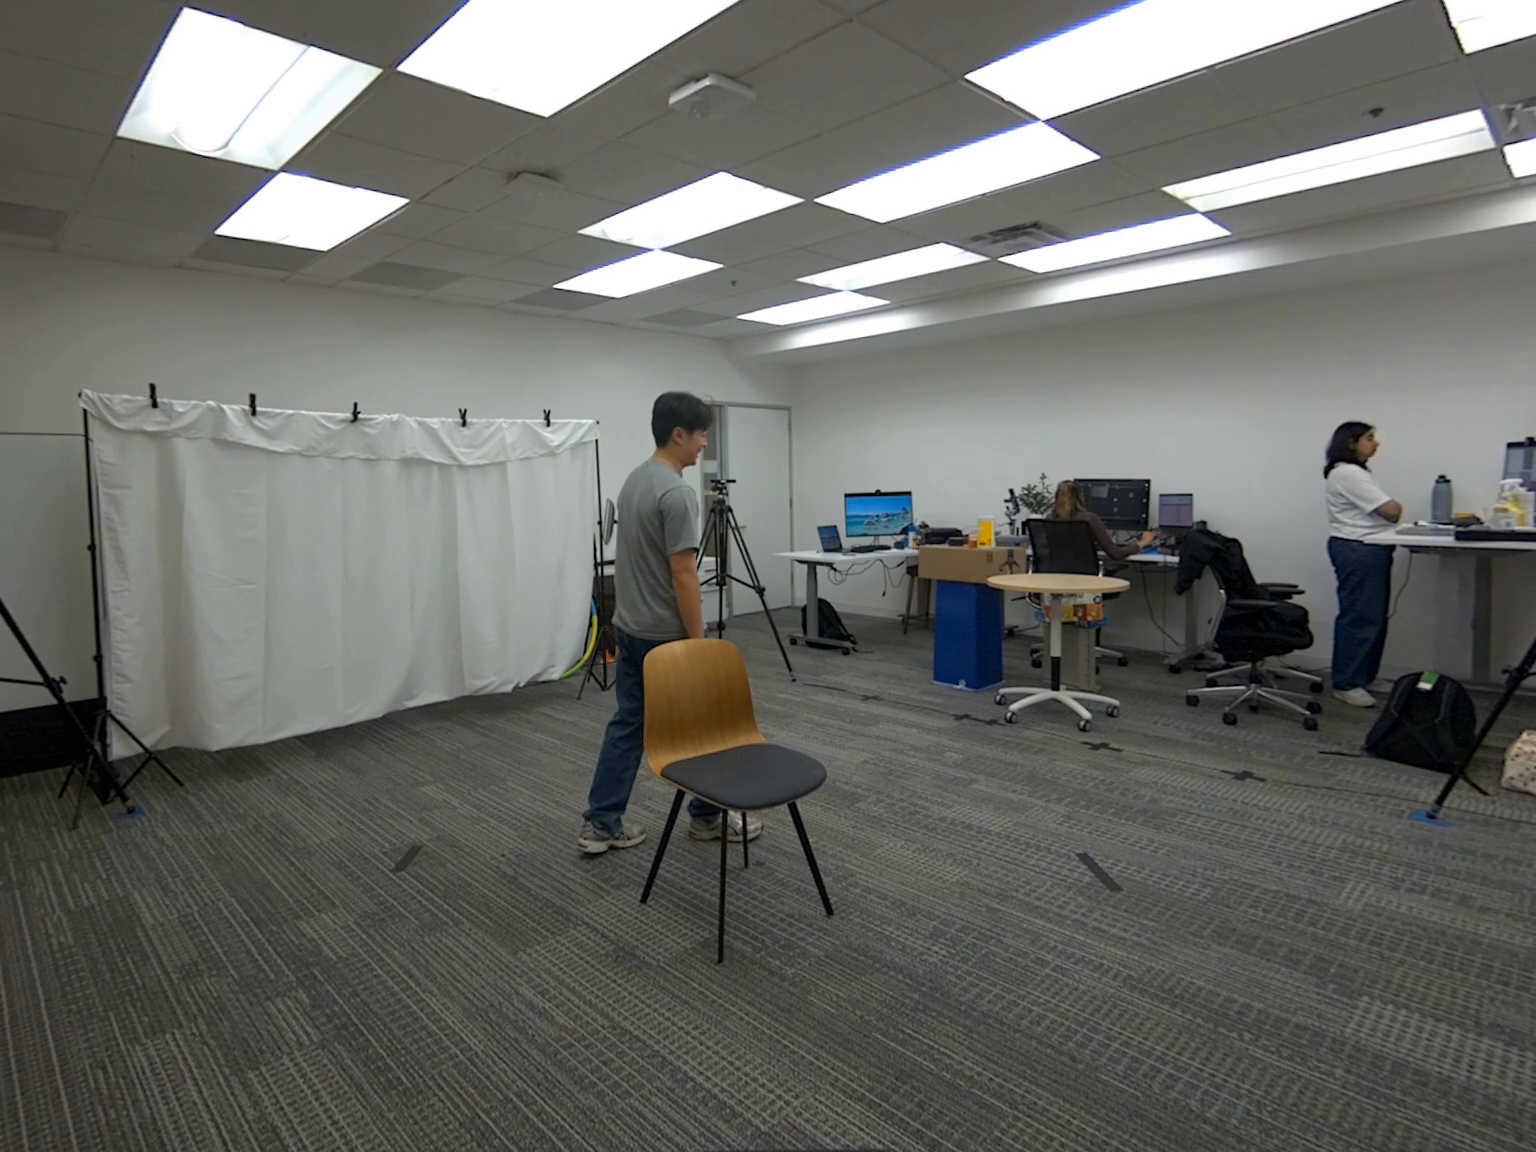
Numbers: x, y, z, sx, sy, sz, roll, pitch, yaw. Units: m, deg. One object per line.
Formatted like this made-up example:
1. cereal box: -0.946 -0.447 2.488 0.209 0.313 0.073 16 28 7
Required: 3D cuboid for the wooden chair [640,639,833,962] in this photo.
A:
1. wooden chair: -0.105 0.663 2.742 0.466 0.877 0.537 -4 1 -37
